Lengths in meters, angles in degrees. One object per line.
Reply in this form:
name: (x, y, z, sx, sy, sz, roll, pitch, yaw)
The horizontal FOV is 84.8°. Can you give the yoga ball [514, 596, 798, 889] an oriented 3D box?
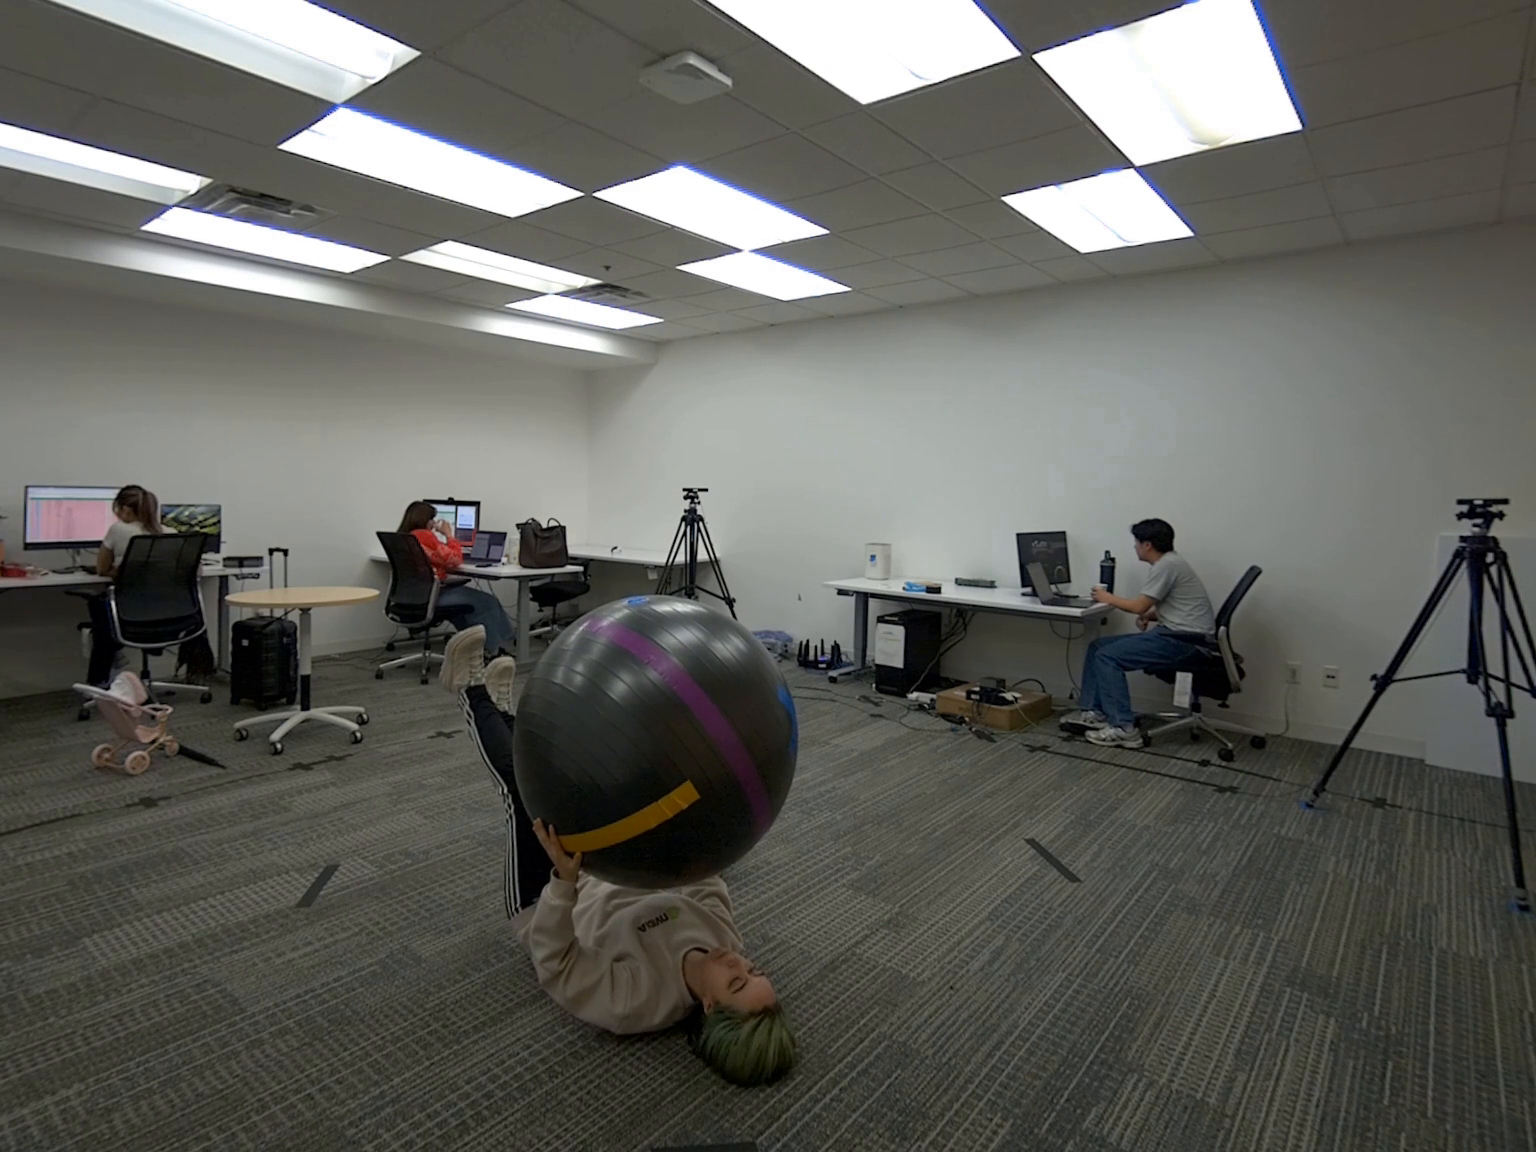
yoga ball: (-0.305, 0.431, 2.276, 0.757, 0.755, 0.762, 1, 4, -2)
